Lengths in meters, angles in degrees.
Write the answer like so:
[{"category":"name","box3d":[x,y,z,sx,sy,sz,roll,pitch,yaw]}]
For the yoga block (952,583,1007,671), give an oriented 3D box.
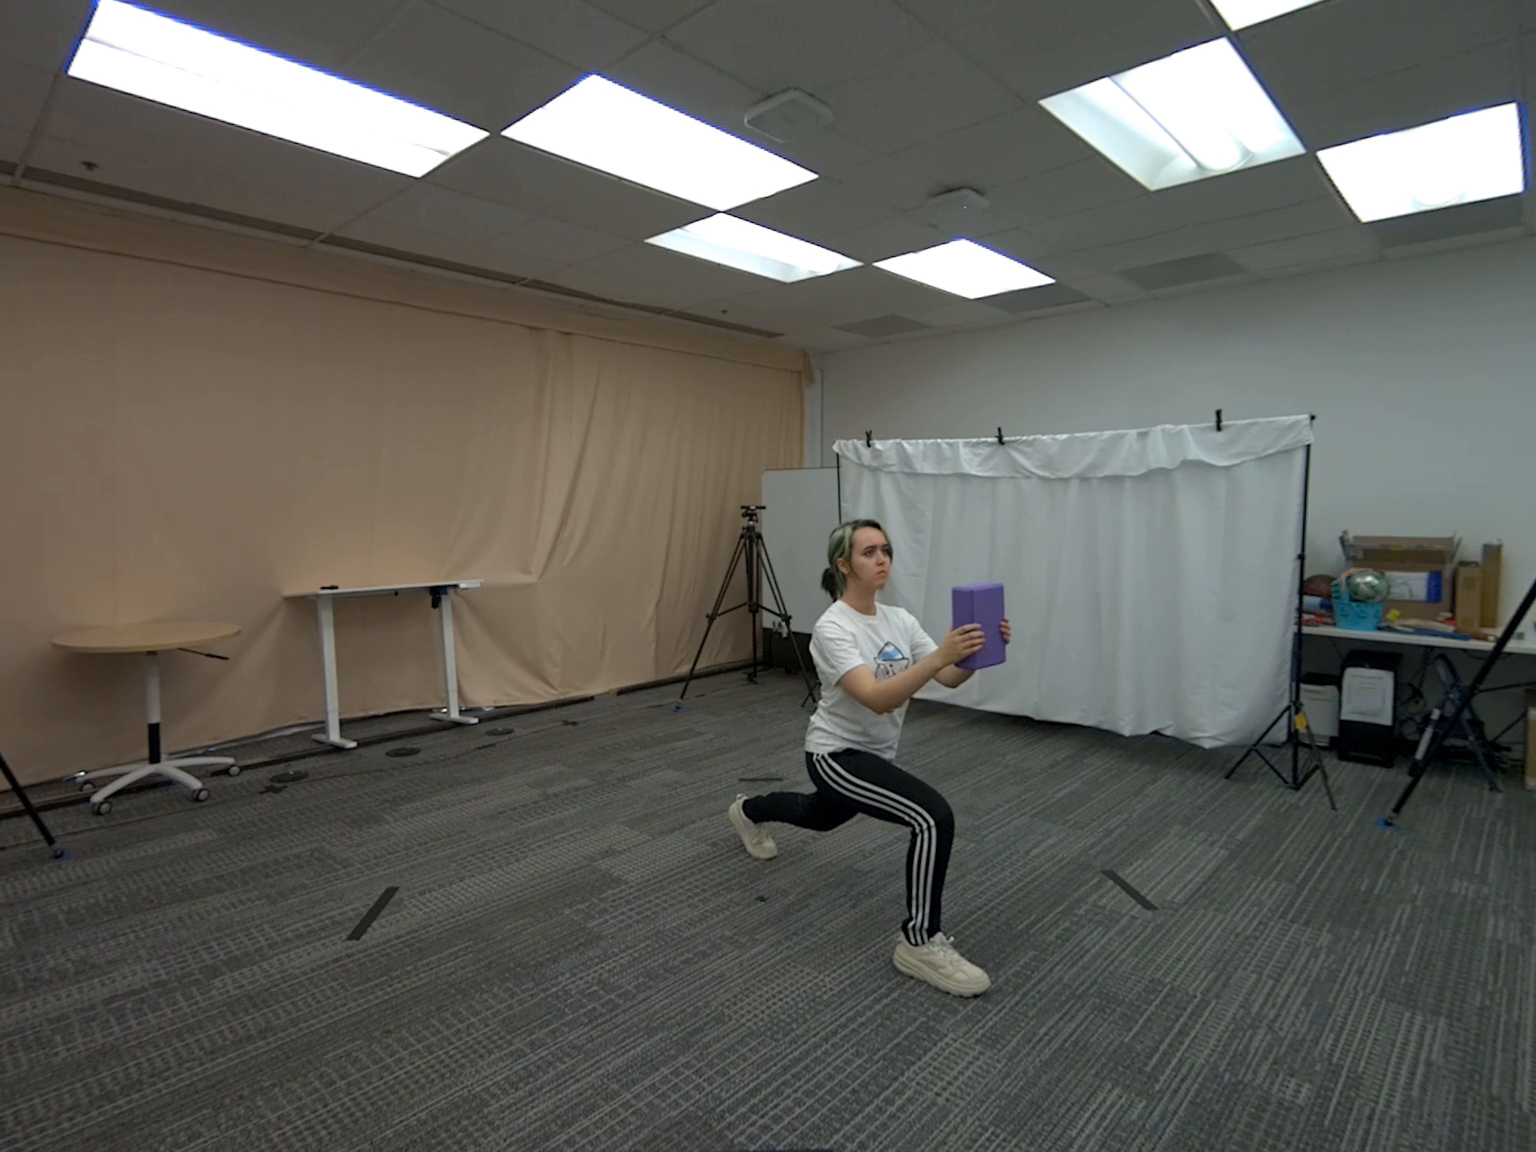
[{"category":"yoga block","box3d":[0.602,0.142,2.370,0.145,0.228,0.079,-7,6,-35]}]
